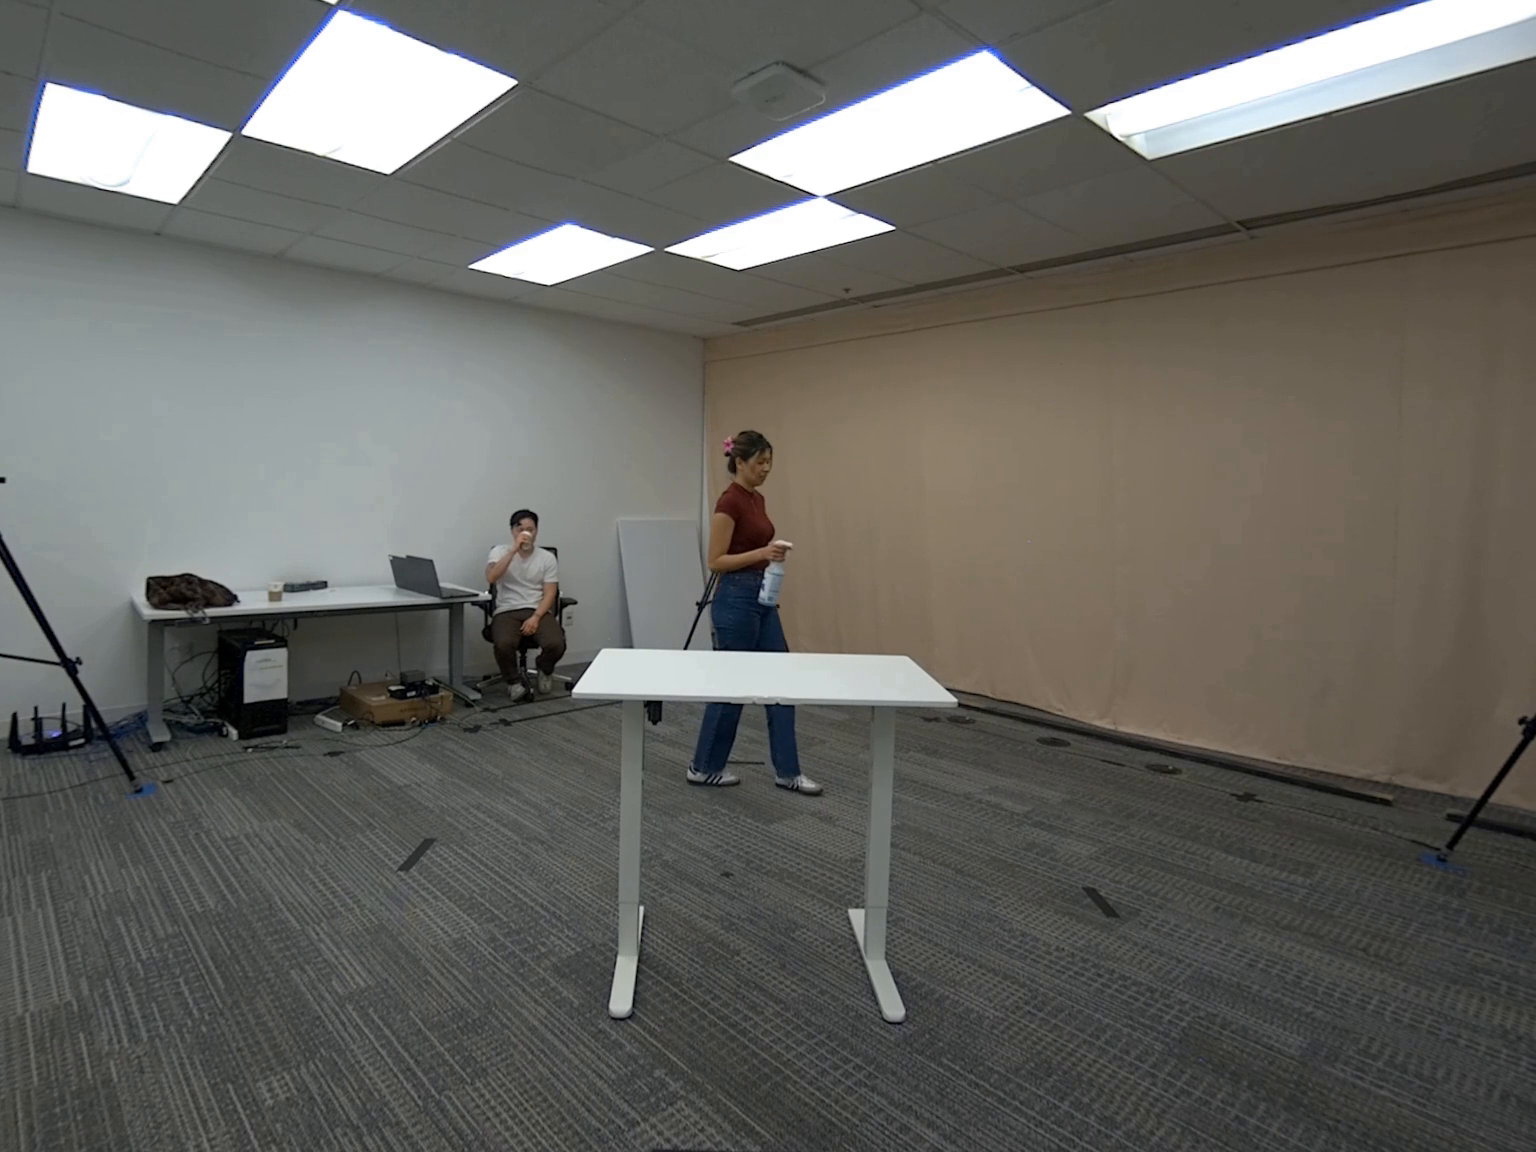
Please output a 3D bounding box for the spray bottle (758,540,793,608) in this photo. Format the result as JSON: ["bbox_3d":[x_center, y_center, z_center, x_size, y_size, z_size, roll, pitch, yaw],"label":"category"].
[{"bbox_3d":[0.019,-0.017,3.765,0.085,0.296,0.093,4,12,-40],"label":"spray bottle"}]
